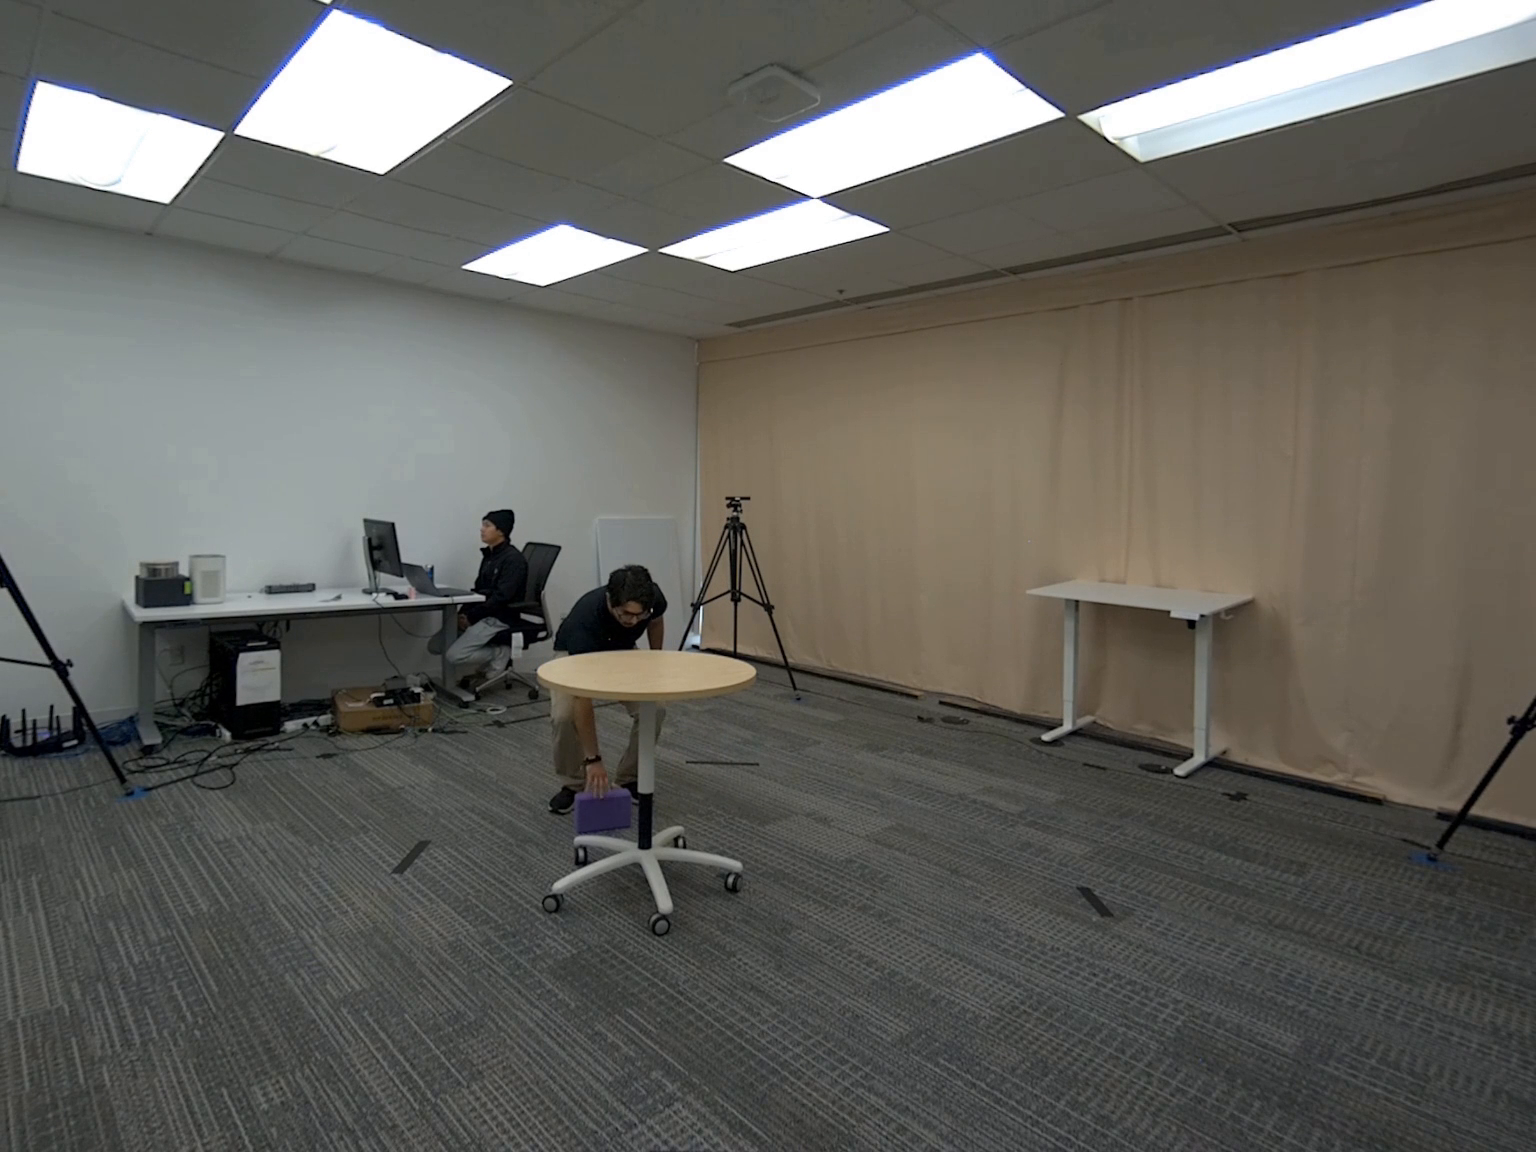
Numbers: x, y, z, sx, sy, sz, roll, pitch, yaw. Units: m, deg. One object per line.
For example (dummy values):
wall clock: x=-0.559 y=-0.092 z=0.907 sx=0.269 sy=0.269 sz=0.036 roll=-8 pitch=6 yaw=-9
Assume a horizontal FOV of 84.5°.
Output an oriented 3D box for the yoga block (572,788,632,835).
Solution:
yoga block: x=-0.706 y=0.983 z=3.531 sx=0.226 sy=0.148 sz=0.078 roll=-2 pitch=5 yaw=-20
